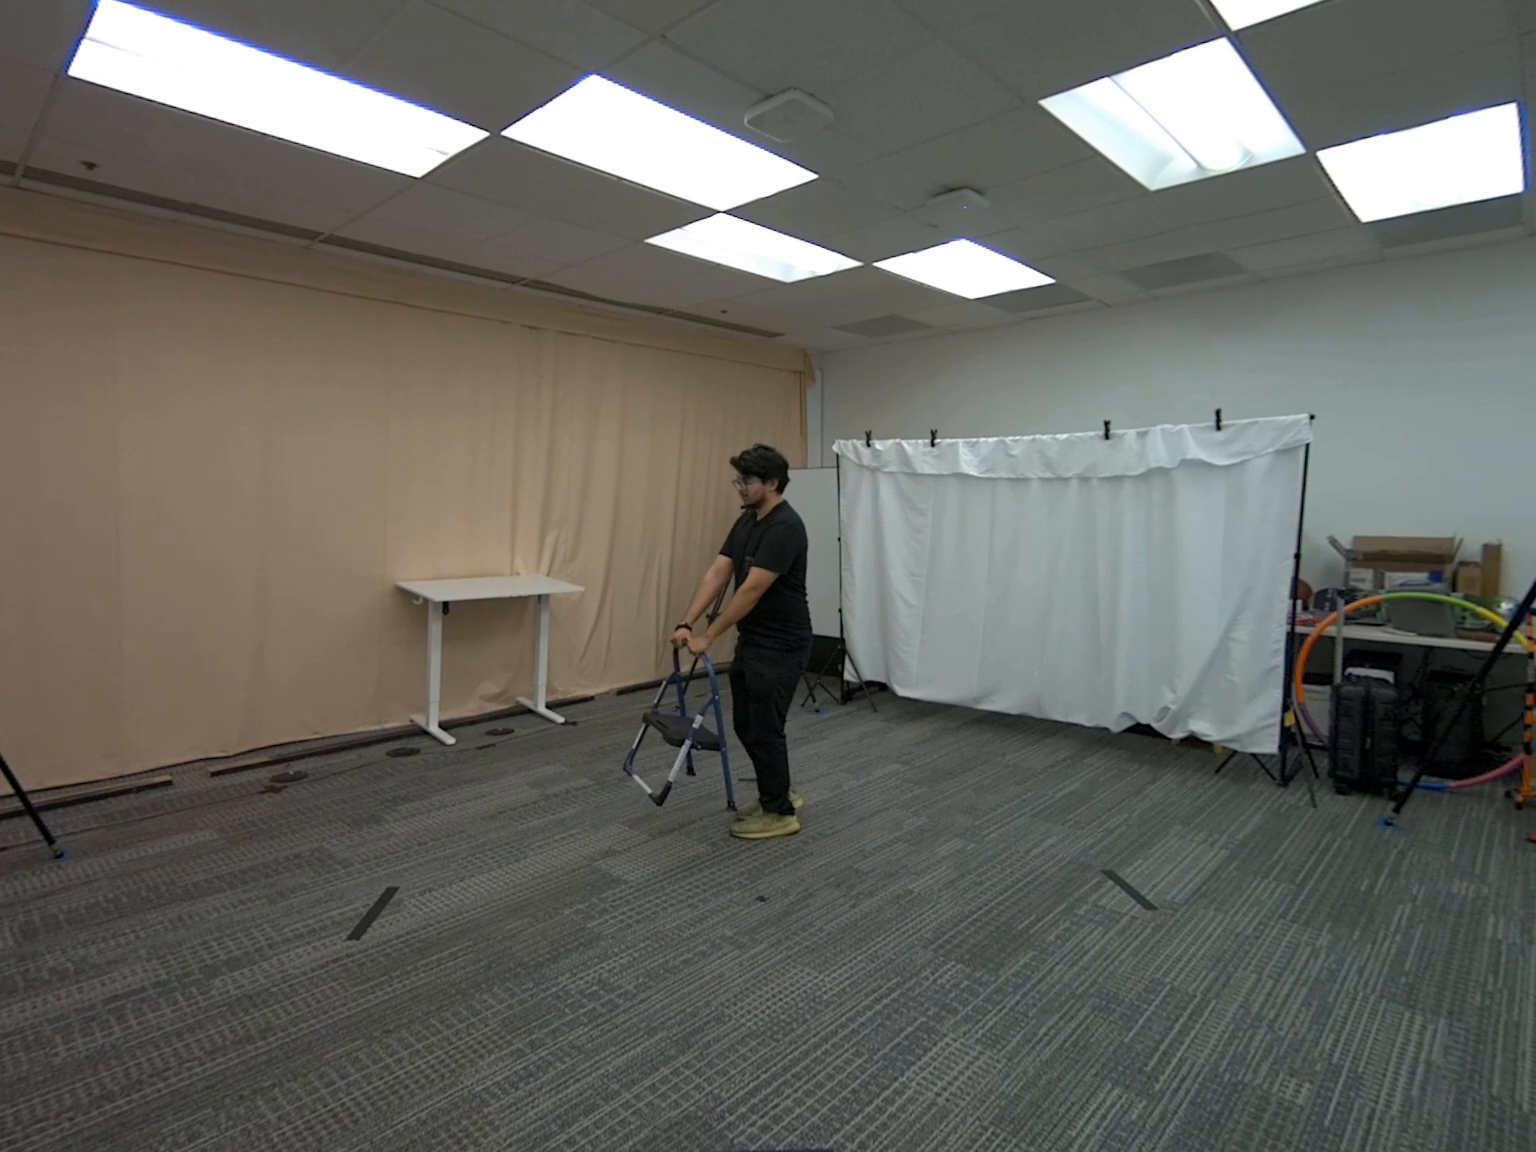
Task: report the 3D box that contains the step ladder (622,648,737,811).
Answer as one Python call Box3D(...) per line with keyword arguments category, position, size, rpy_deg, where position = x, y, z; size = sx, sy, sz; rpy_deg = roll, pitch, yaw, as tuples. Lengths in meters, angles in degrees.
Box3D(category="step ladder", position=(-0.305, 0.580, 3.434), size=(0.339, 0.606, 0.443), rpy_deg=(12, 1, -29))
